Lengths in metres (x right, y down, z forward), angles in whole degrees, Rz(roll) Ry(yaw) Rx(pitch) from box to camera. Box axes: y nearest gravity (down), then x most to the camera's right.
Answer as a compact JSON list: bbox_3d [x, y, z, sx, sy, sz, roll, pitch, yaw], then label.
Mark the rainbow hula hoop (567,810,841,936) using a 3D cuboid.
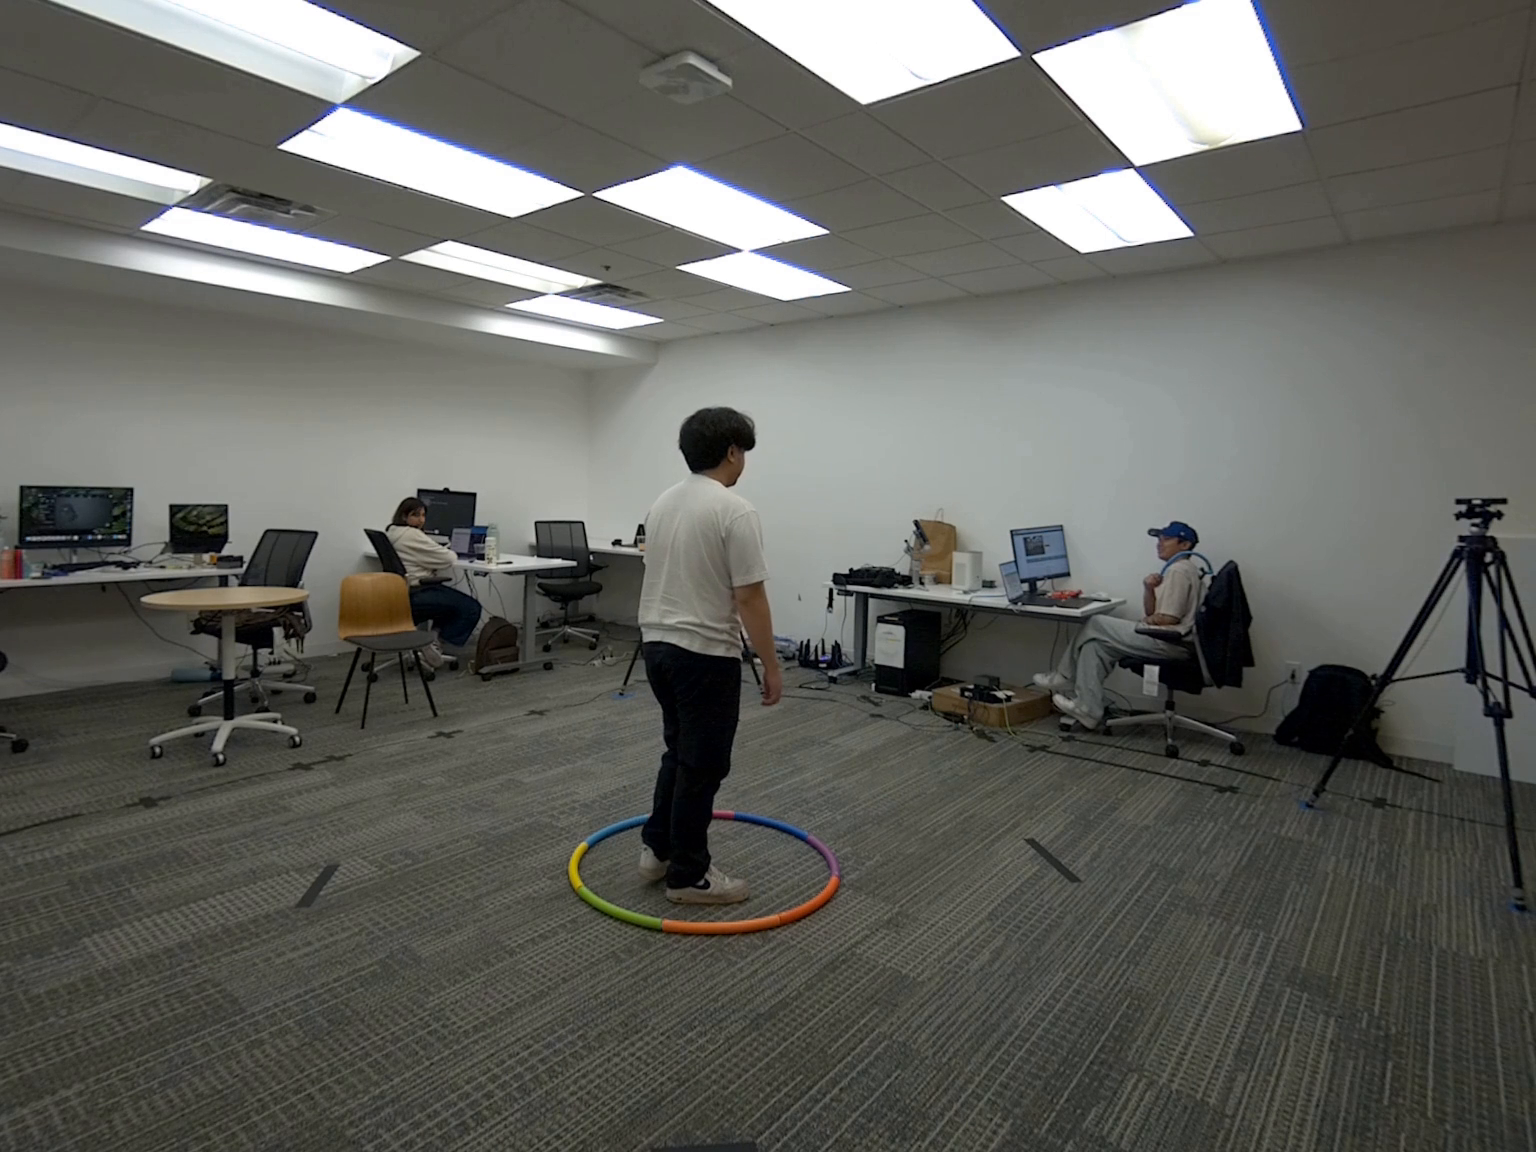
[{"bbox_3d":[-0.244,1.044,3.125,0.984,0.051,0.991,1,6,-2],"label":"rainbow hula hoop"}]
